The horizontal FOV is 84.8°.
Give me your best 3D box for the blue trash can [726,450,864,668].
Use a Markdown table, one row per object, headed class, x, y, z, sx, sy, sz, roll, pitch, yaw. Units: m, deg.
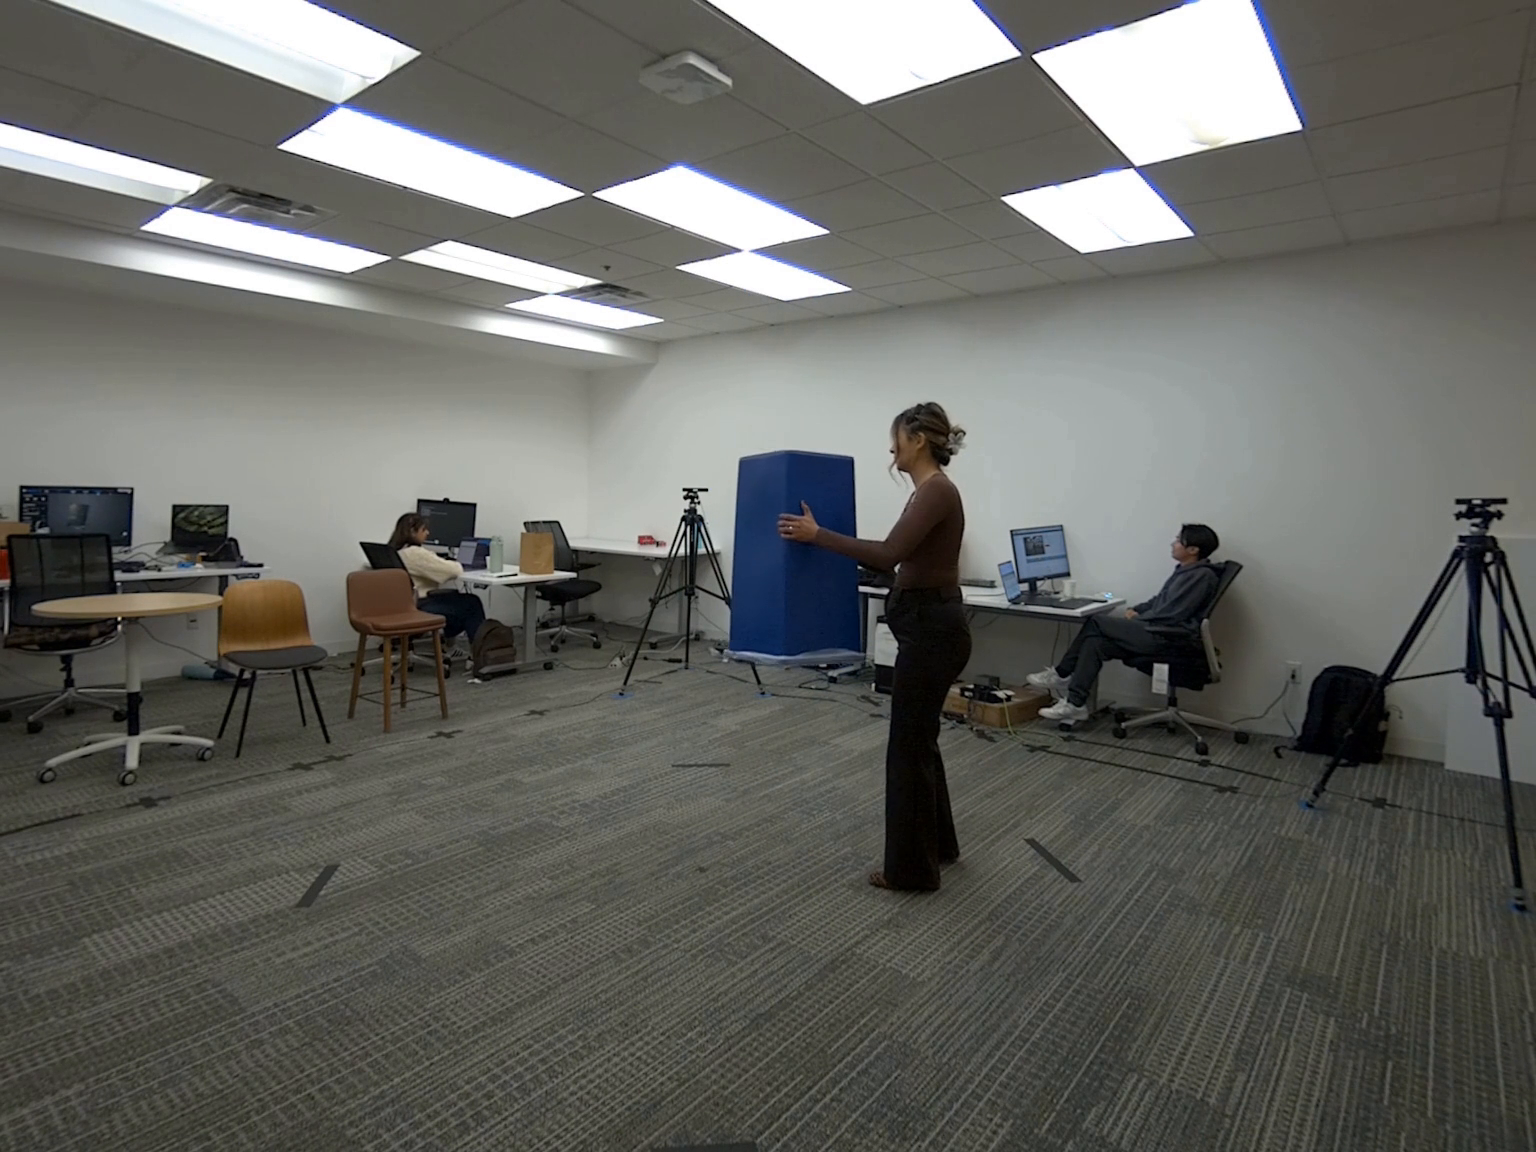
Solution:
| class | x | y | z | sx | sy | sz | roll | pitch | yaw |
| --- | --- | --- | --- | --- | --- | --- | --- | --- | --- |
| blue trash can | 0.086 | -0.077 | 3.010 | 0.367 | 0.714 | 0.385 | 1 | -1 | -33 |
